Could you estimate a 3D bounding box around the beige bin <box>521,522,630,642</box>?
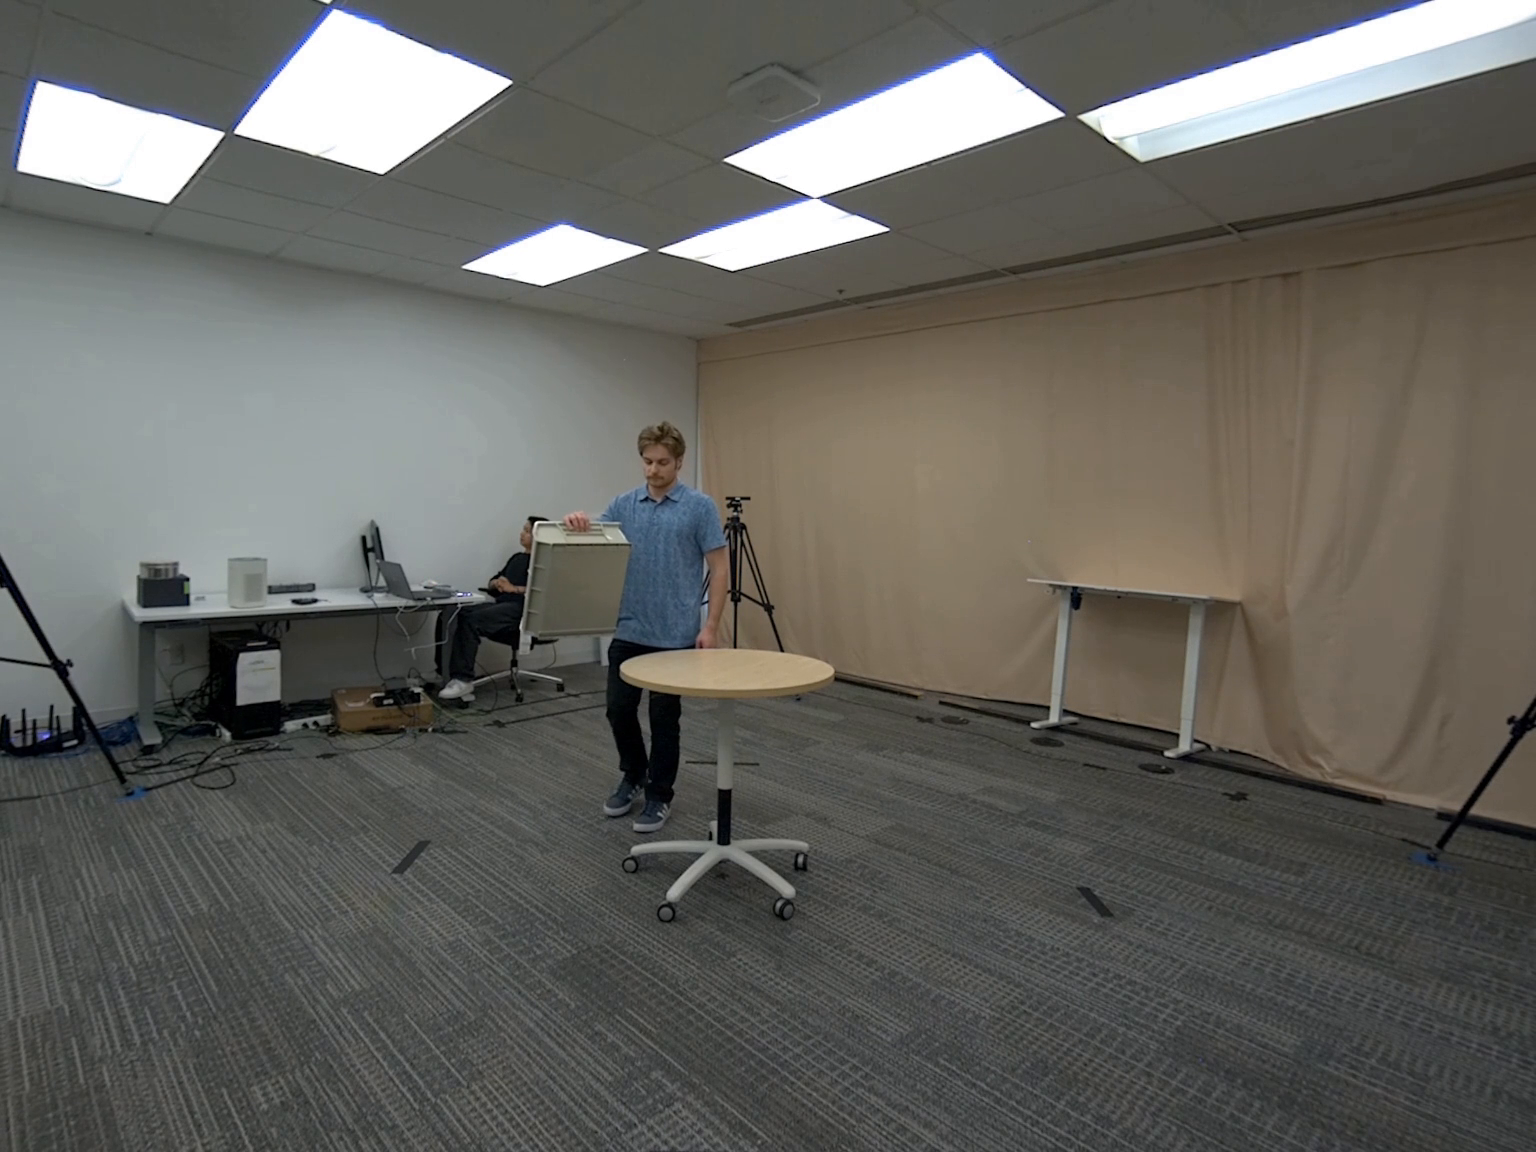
[{"bbox_3d":[-0.762,0.020,3.265,0.370,0.417,0.195,0,26,-27],"label":"beige bin"}]
